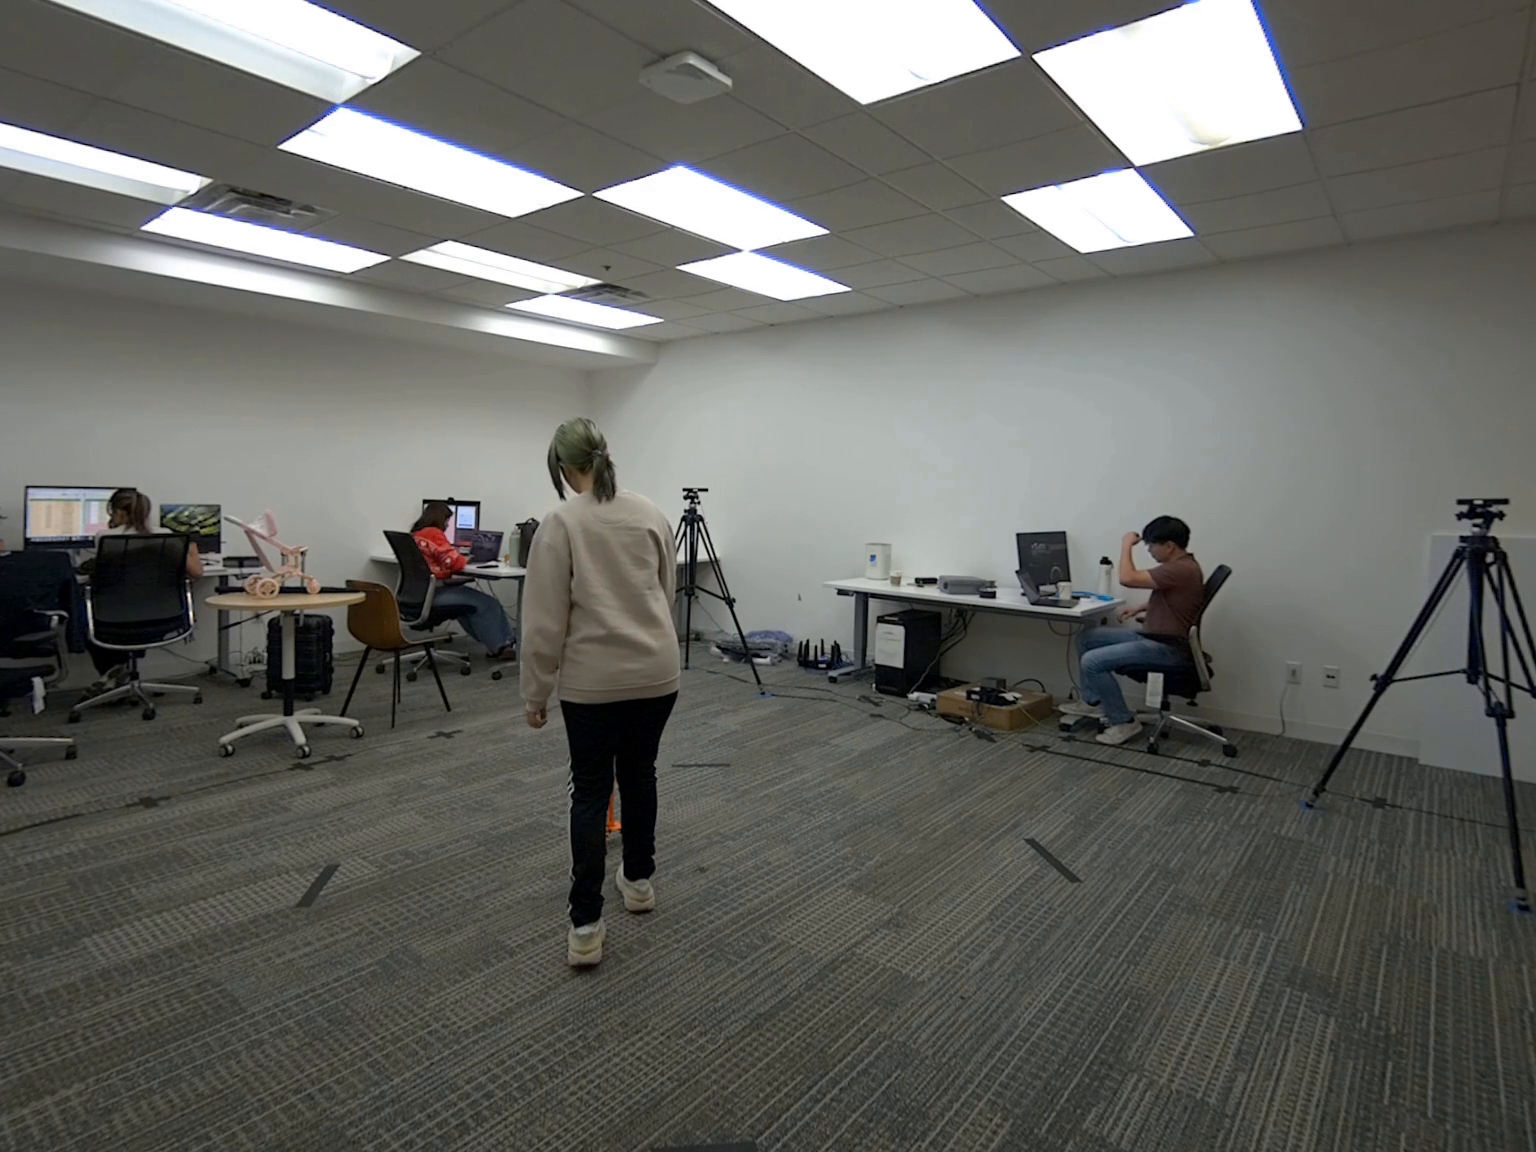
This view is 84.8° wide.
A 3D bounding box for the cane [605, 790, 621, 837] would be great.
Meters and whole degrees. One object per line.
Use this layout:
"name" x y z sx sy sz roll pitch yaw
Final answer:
"cane" -0.599 0.586 3.306 0.200 0.906 0.157 0 3 -42
